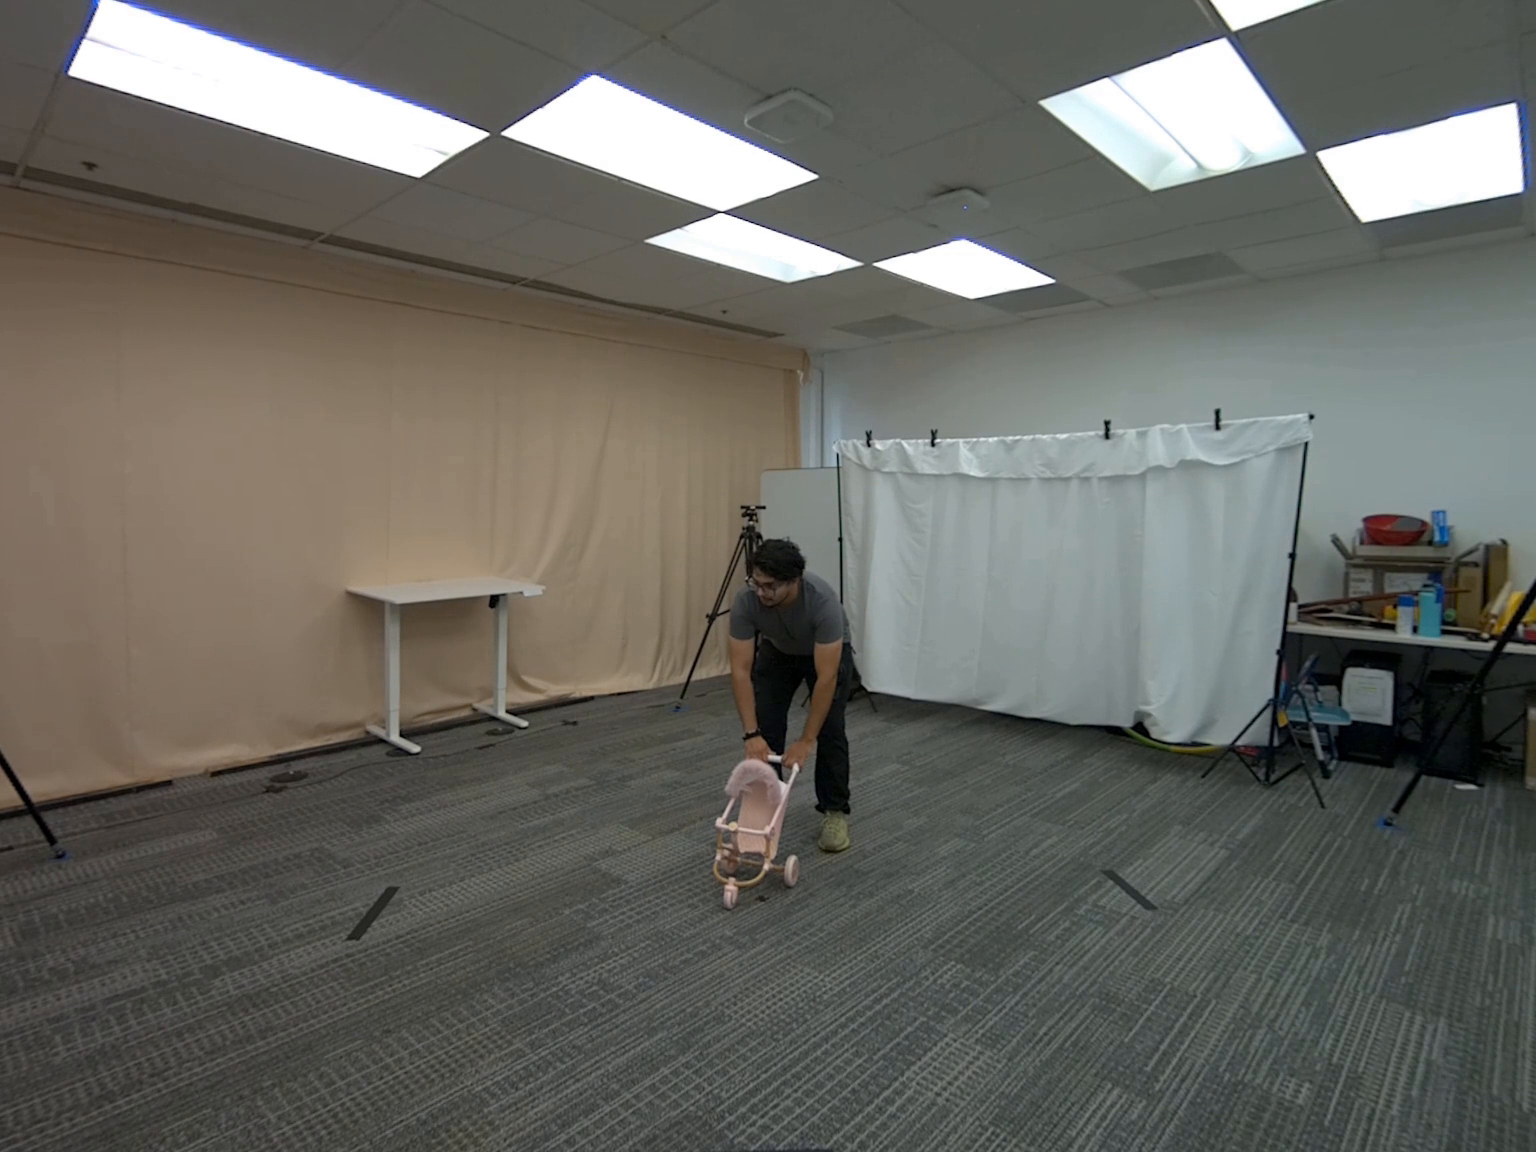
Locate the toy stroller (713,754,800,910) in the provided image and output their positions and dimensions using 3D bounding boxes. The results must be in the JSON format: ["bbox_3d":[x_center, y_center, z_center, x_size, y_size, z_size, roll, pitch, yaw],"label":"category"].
[{"bbox_3d":[-0.058,0.915,3.075,0.289,0.538,0.330,1,-14,29],"label":"toy stroller"}]
